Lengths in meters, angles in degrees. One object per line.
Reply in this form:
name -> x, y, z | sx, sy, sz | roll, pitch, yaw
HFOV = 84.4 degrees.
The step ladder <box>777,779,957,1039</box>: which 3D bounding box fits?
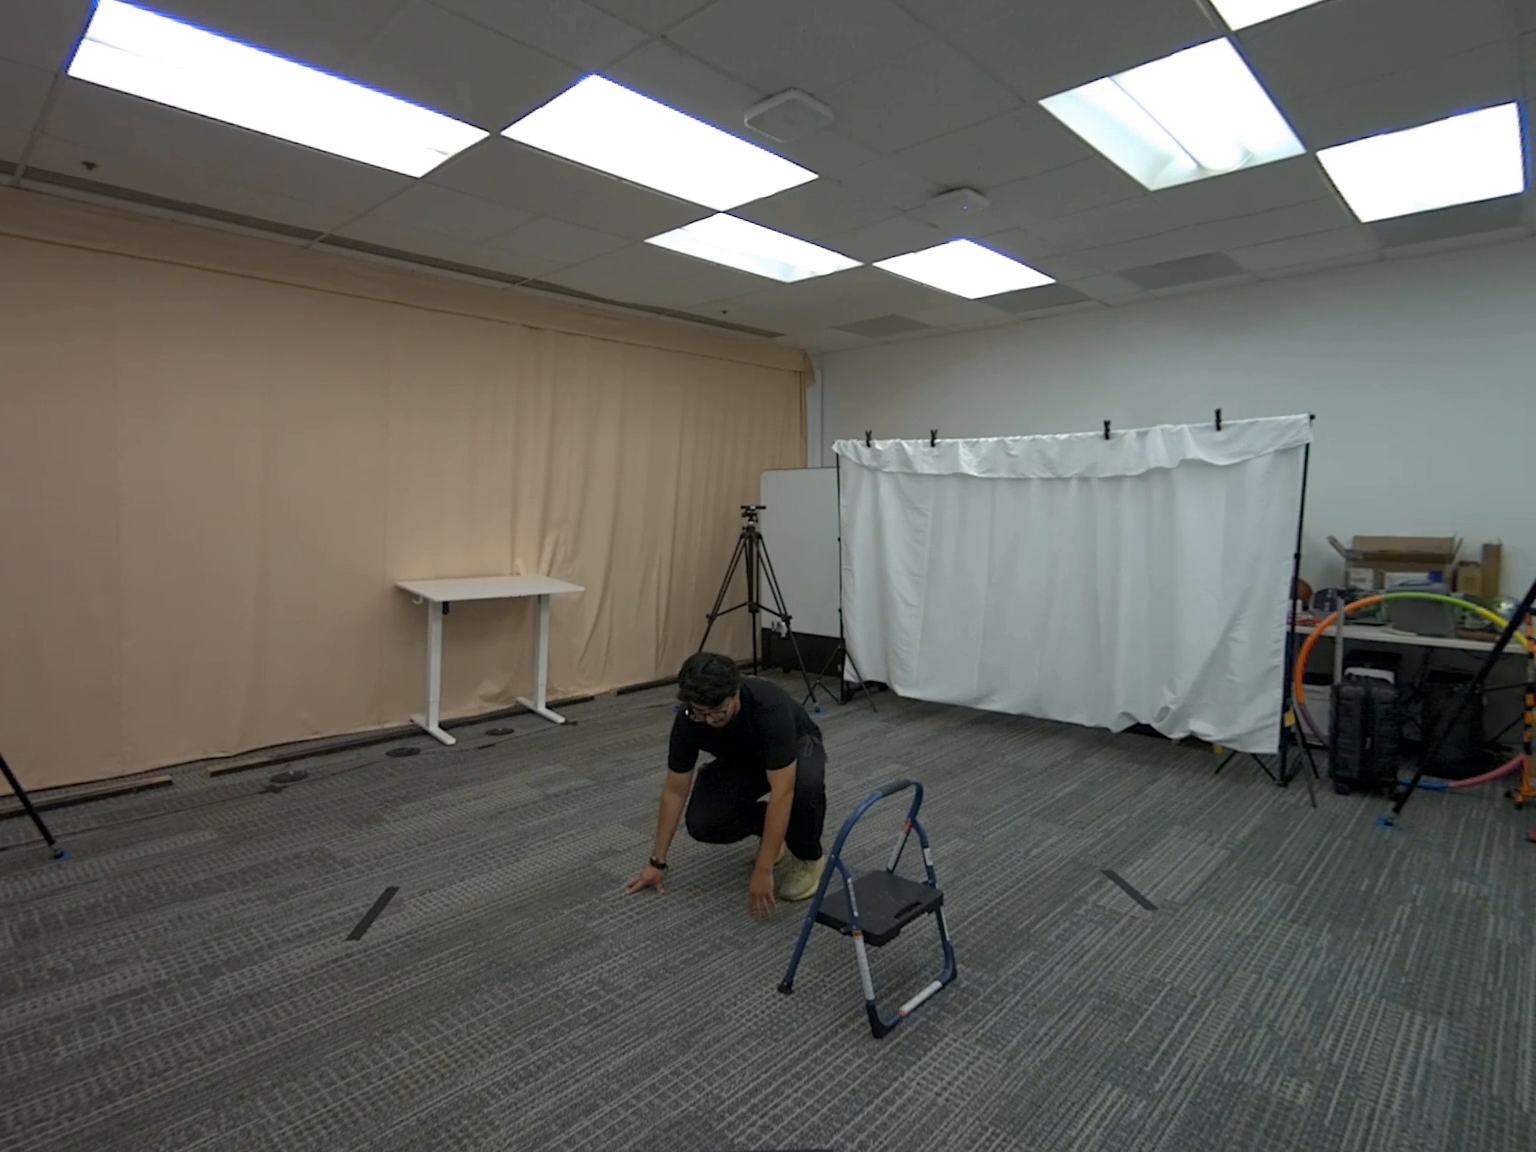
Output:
step ladder -> 0.300, 0.887, 2.435 | 0.361, 0.605, 0.417 | 3, 5, 42
